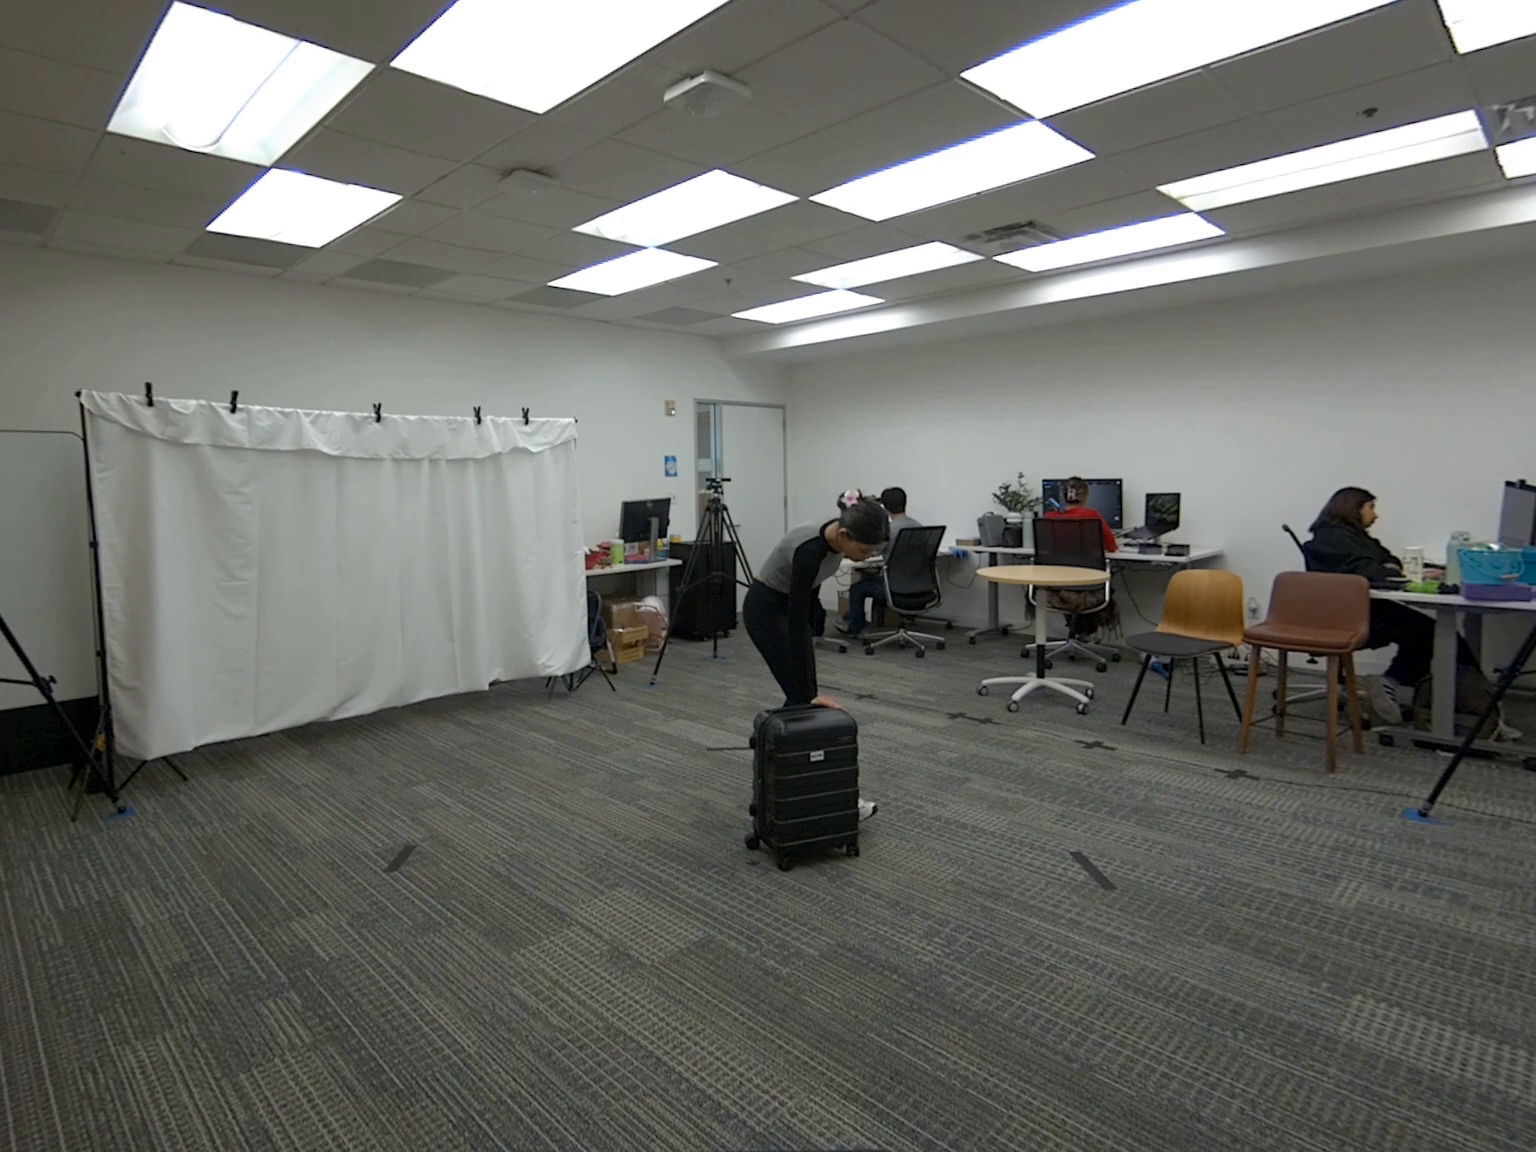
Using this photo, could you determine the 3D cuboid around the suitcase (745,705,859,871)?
[{"bbox_3d":[0.139,0.758,3.168,0.368,0.547,0.255,-2,6,-24],"label":"suitcase"}]
